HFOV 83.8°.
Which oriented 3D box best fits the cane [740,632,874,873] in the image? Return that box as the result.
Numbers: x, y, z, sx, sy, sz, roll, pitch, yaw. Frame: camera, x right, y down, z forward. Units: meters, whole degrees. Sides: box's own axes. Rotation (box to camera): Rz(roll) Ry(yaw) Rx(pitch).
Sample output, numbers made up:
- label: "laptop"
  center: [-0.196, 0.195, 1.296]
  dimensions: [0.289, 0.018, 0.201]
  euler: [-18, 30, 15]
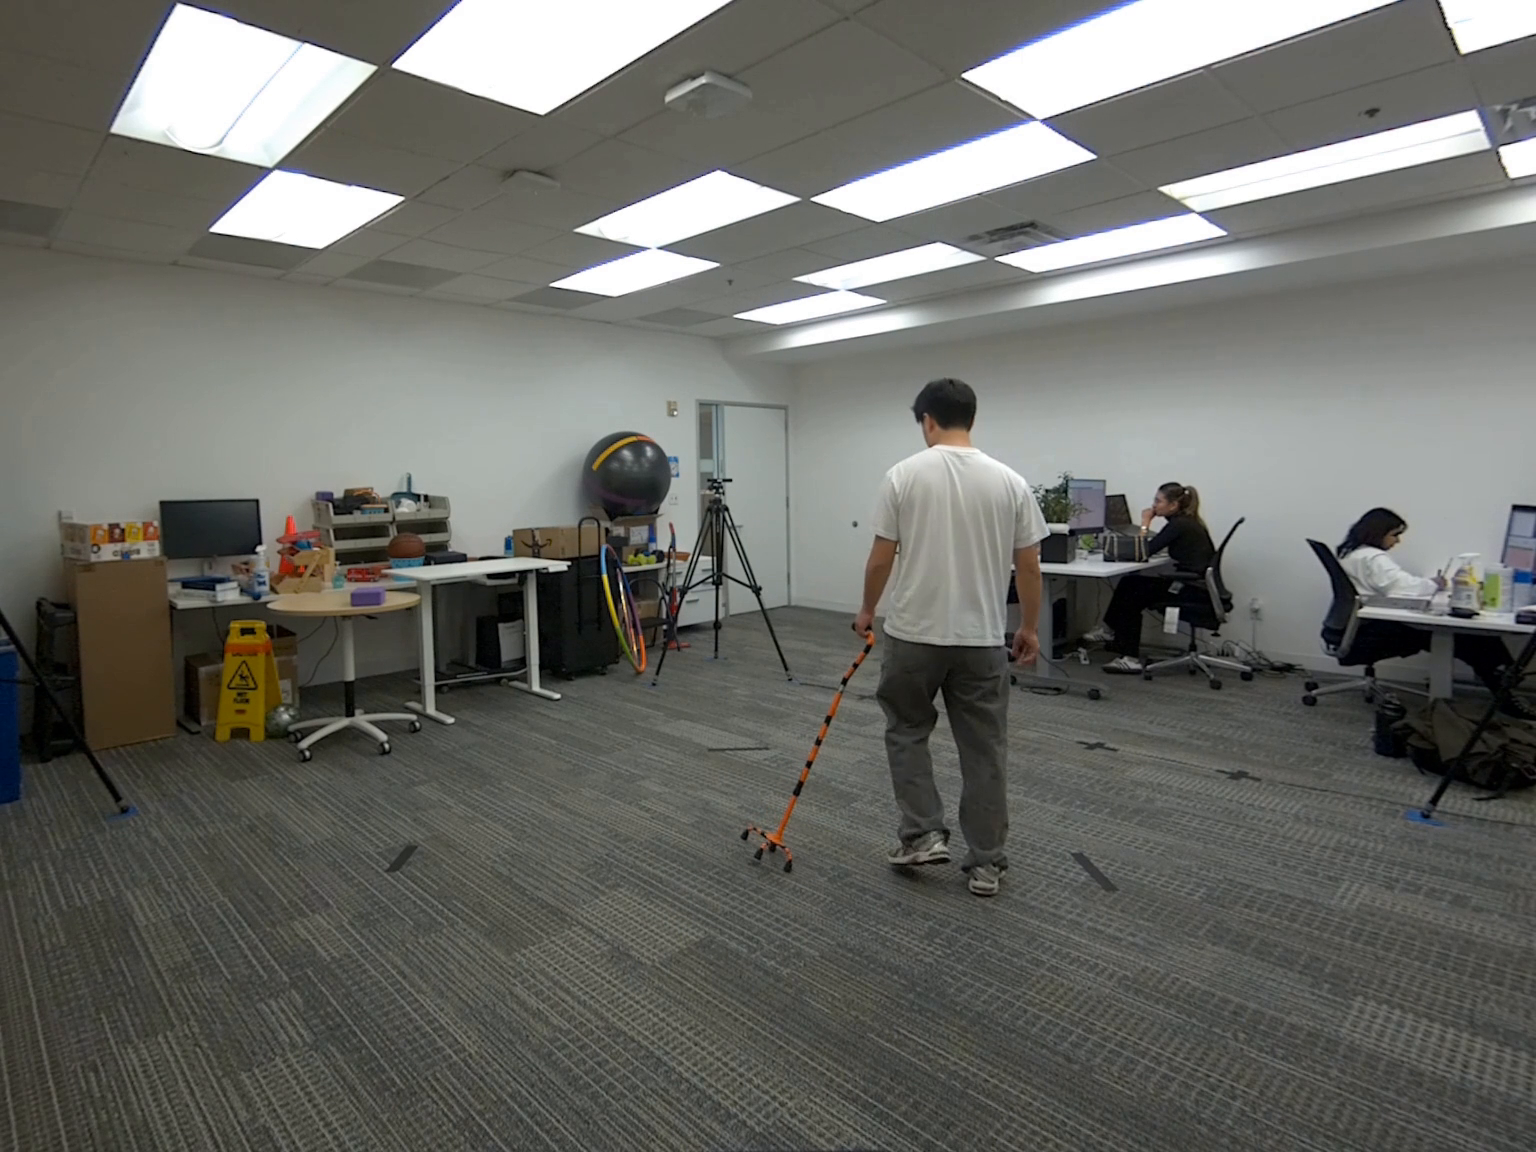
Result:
- label: "cane"
  center: [0.177, 0.604, 3.147]
  dimensions: [0.148, 0.909, 0.210]
  euler: [25, -2, -17]
